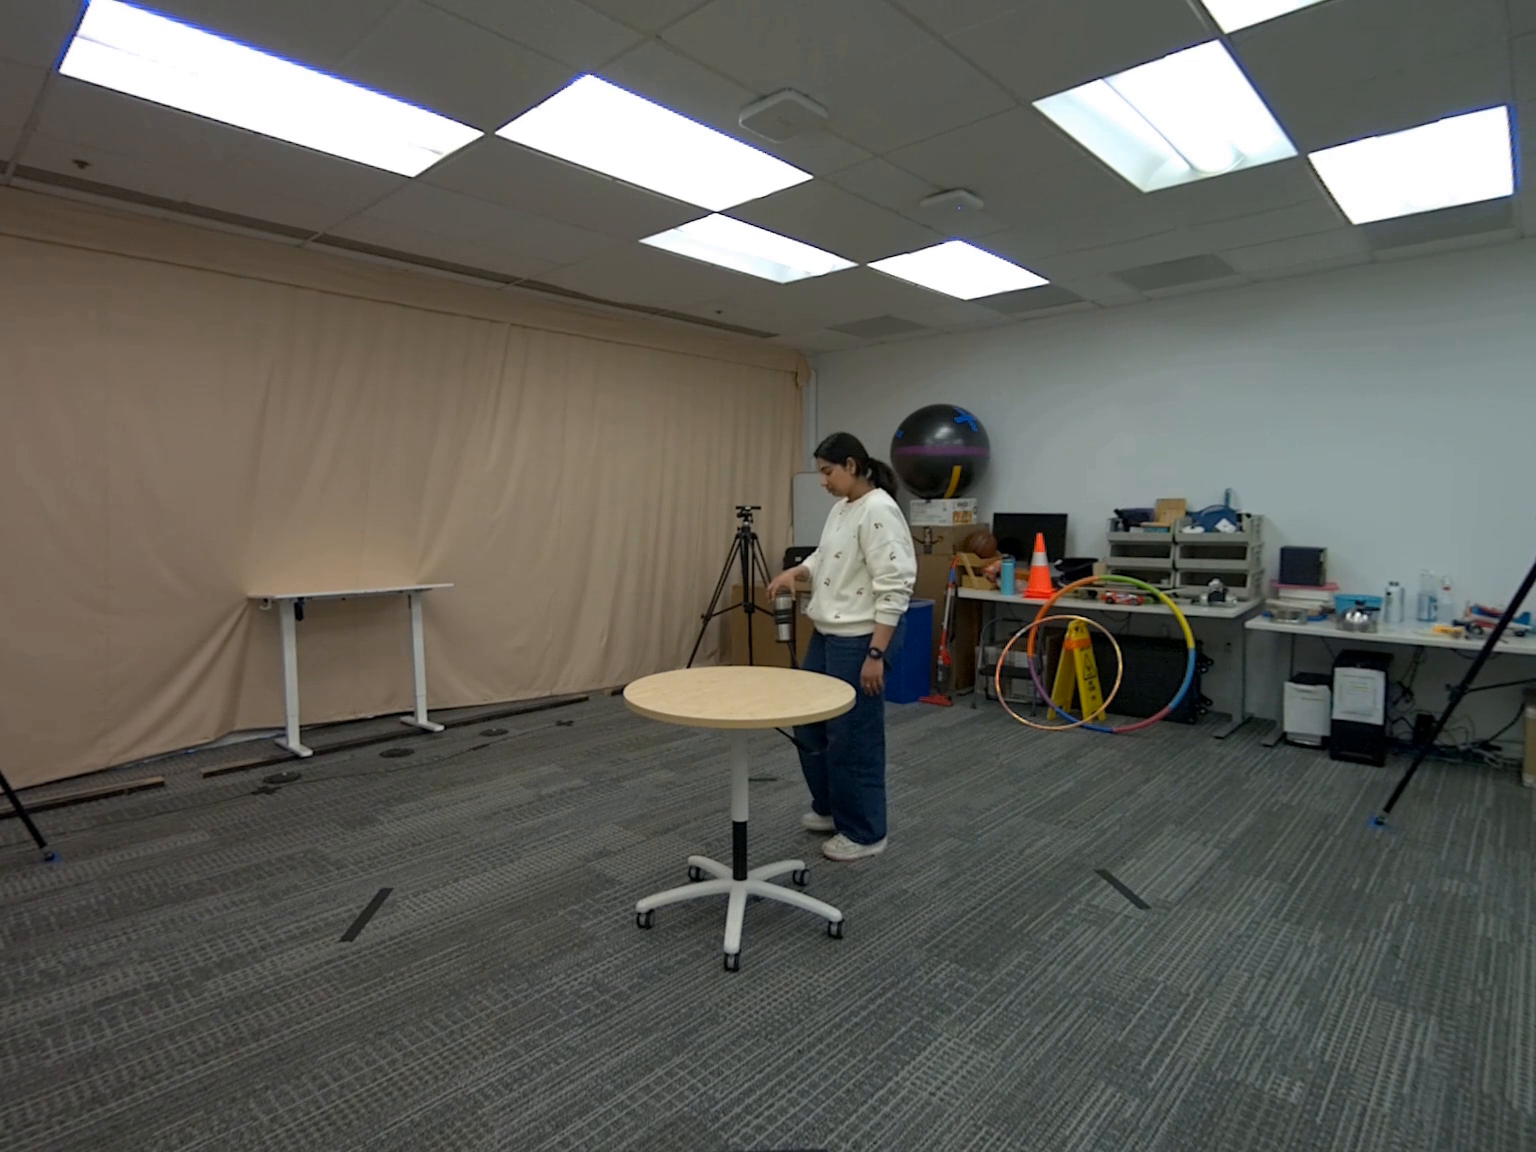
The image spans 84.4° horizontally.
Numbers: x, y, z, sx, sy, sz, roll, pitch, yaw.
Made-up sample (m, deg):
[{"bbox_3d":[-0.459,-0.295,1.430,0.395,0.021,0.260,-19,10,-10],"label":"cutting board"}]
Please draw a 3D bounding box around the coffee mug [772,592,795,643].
[{"bbox_3d":[0.086,0.165,3.381,0.119,0.203,0.090,-7,-2,-34],"label":"coffee mug"}]
